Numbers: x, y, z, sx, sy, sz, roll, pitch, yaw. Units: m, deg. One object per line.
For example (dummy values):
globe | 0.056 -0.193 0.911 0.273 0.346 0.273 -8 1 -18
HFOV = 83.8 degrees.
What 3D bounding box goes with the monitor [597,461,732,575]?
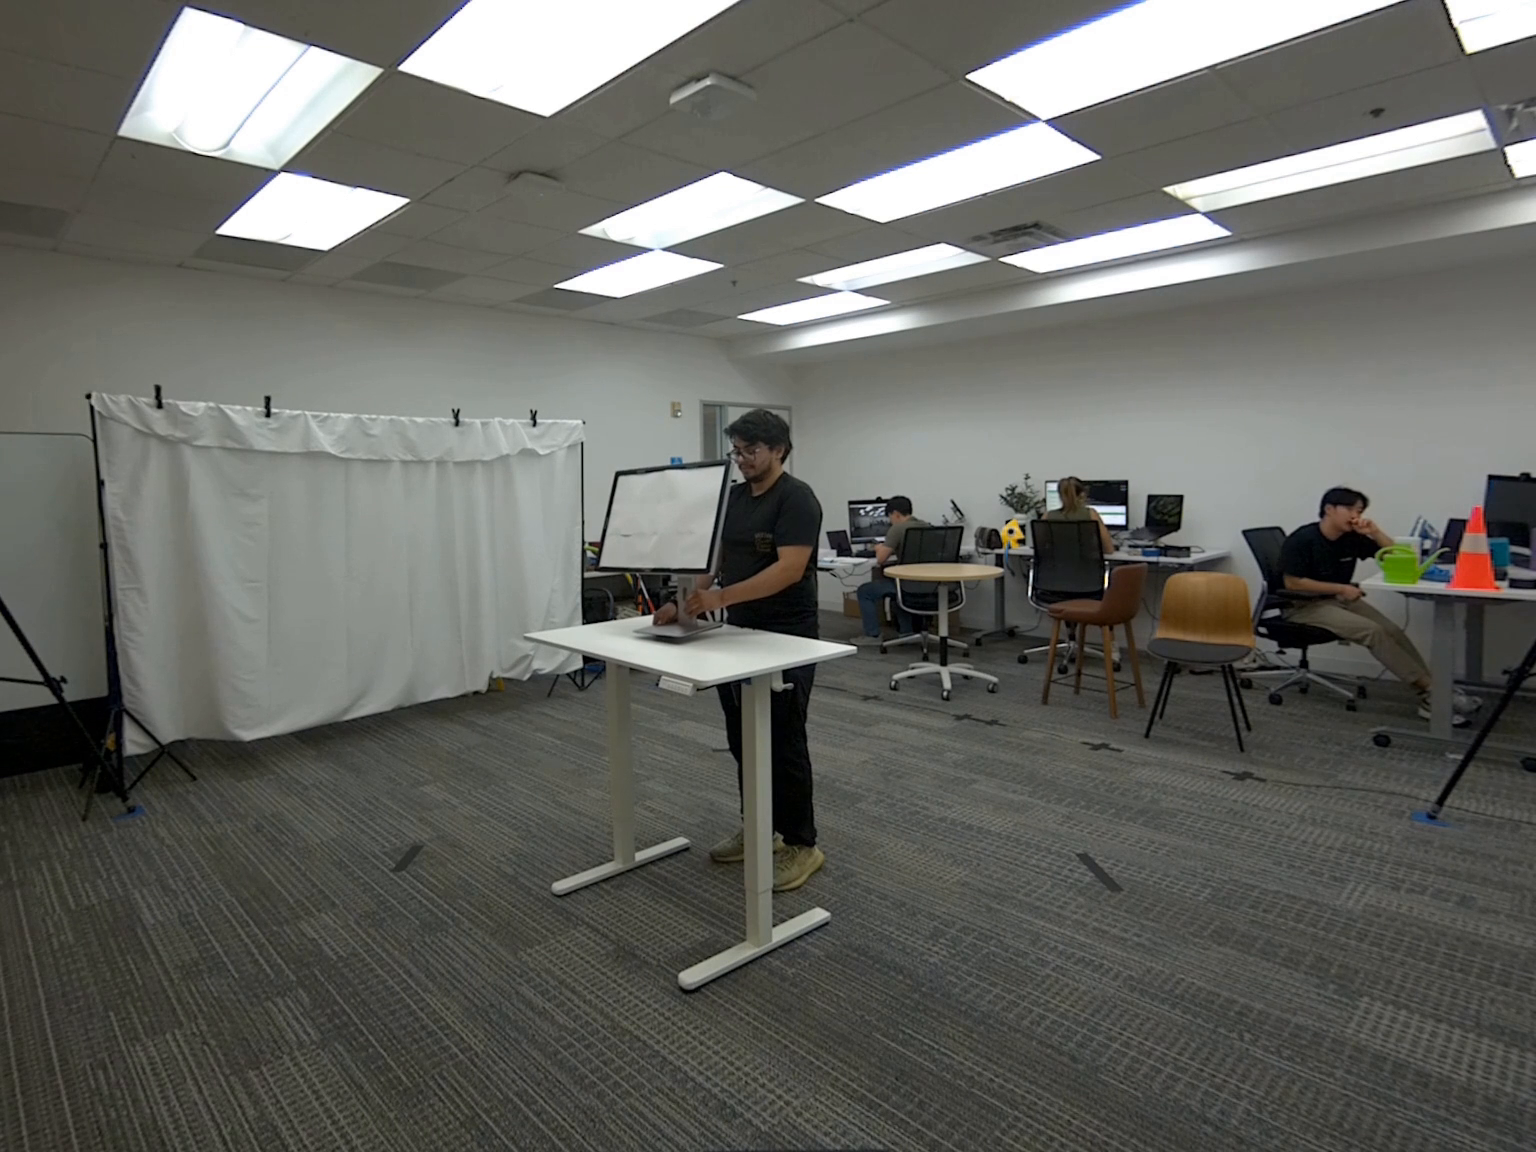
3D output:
monitor | -0.302 -0.087 2.813 0.581 0.557 0.203 -1 -7 42
